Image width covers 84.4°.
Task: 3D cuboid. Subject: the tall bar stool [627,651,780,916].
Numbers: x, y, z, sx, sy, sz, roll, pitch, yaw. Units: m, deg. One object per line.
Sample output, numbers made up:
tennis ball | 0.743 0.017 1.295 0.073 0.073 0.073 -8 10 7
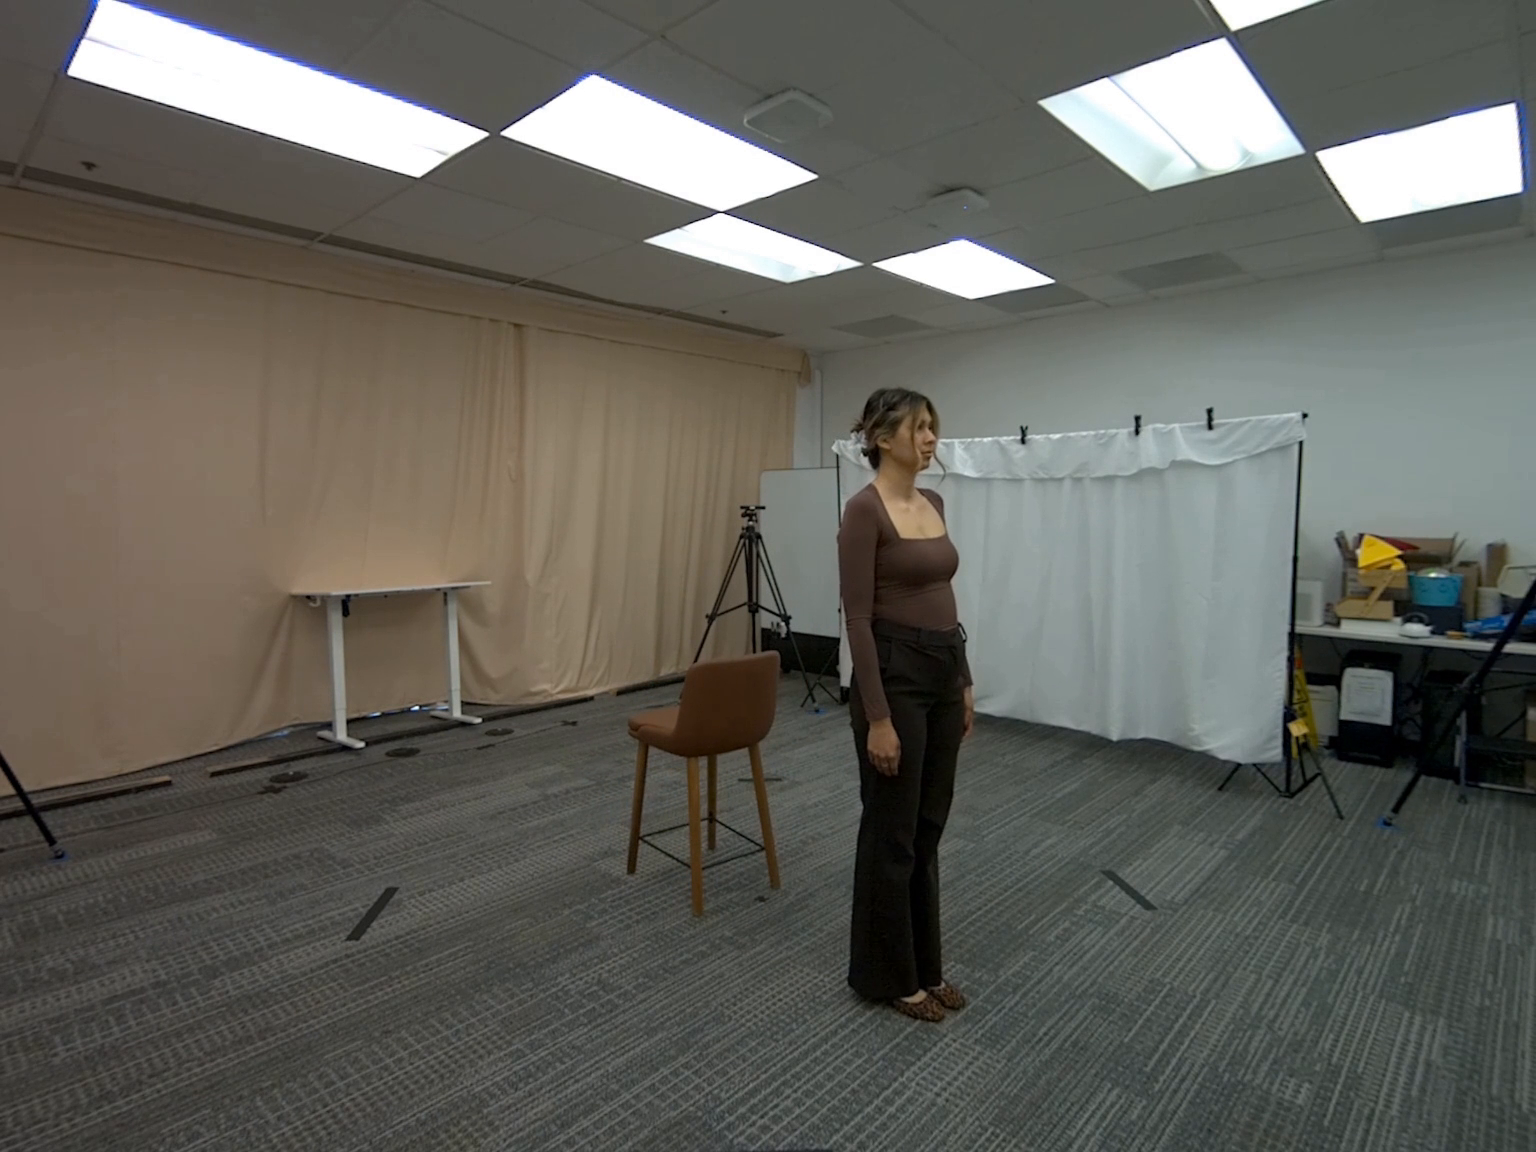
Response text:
tall bar stool | -0.237 0.698 3.114 0.443 0.887 0.483 -3 6 -38
